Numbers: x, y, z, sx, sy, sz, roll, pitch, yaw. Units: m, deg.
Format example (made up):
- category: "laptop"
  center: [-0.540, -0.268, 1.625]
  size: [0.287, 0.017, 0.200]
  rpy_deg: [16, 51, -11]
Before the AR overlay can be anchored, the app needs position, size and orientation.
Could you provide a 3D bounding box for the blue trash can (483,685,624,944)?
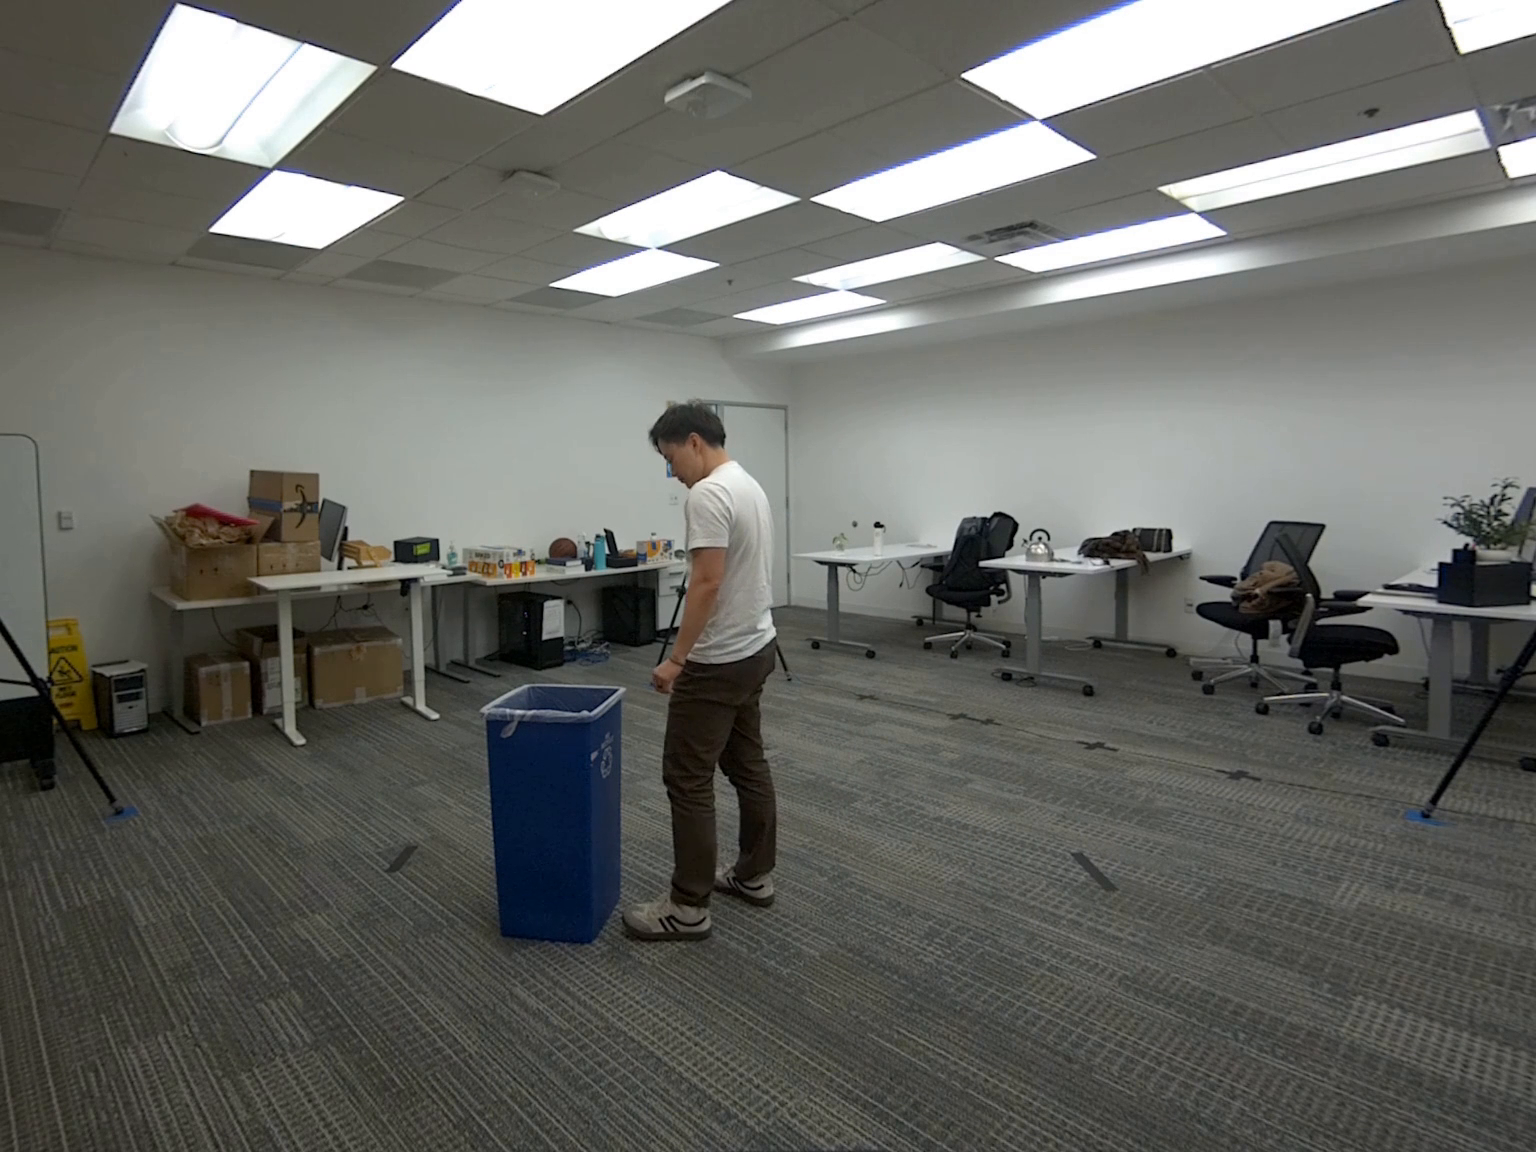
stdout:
- category: "blue trash can"
  center: [-0.655, 0.742, 2.727]
  size: [0.377, 0.711, 0.376]
  rpy_deg: [-1, 4, 9]
